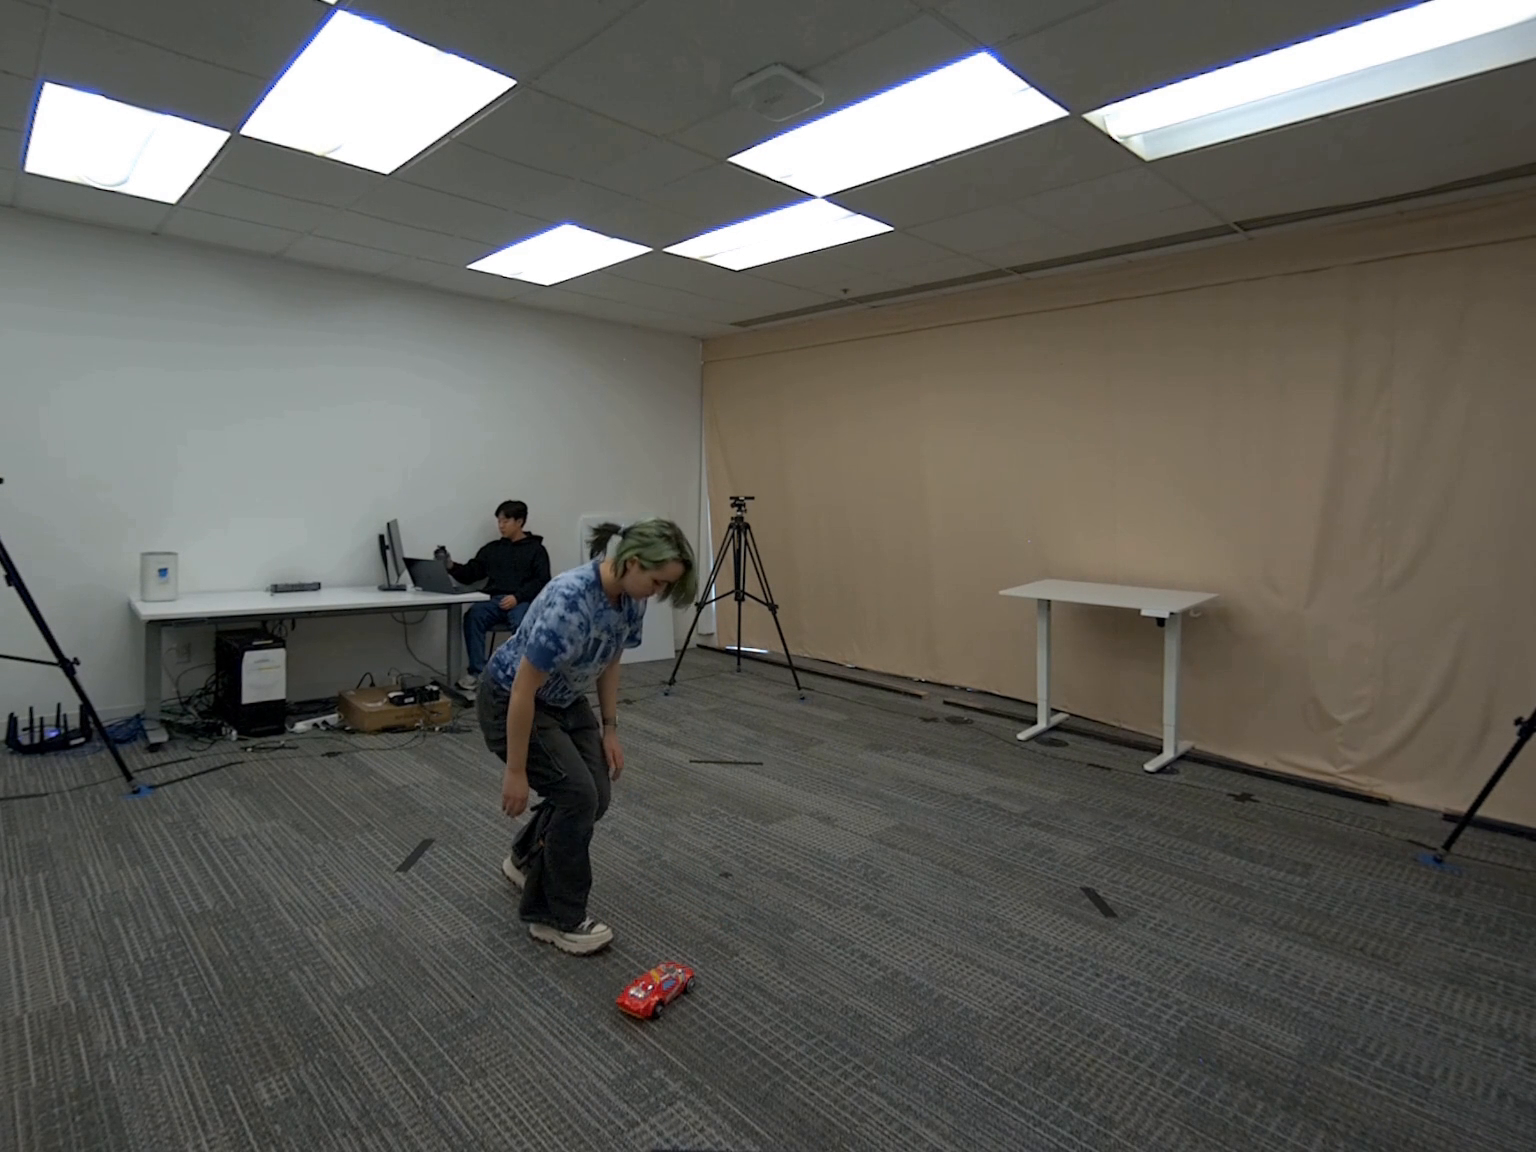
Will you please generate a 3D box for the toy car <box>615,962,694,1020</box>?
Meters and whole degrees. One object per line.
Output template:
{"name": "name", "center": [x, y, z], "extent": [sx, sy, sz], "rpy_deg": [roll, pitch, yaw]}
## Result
{"name": "toy car", "center": [-0.318, 1.144, 2.301], "extent": [0.133, 0.083, 0.248], "rpy_deg": [4, -4, 32]}
